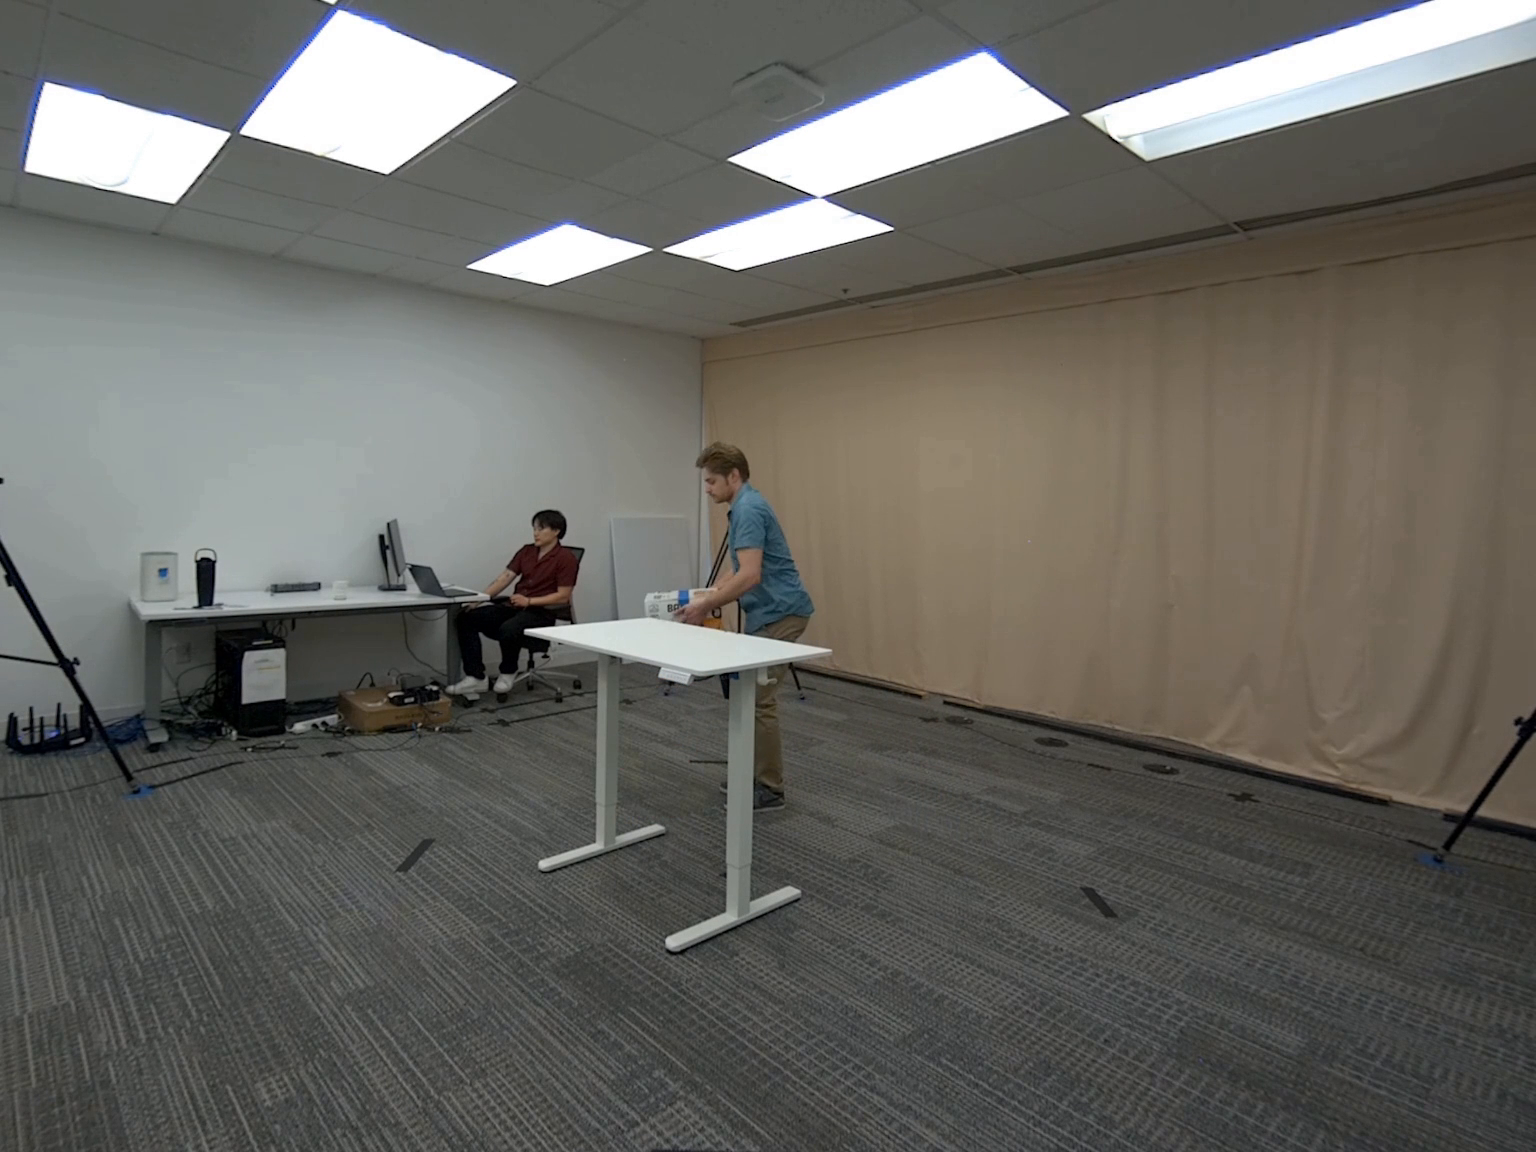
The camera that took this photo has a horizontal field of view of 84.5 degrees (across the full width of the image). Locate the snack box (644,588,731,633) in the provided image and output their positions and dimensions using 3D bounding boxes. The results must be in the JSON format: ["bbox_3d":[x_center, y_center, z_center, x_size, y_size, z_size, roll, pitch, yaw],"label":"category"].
[{"bbox_3d":[-0.395,0.195,3.896,0.339,0.205,0.408,-3,5,-5],"label":"snack box"}]
